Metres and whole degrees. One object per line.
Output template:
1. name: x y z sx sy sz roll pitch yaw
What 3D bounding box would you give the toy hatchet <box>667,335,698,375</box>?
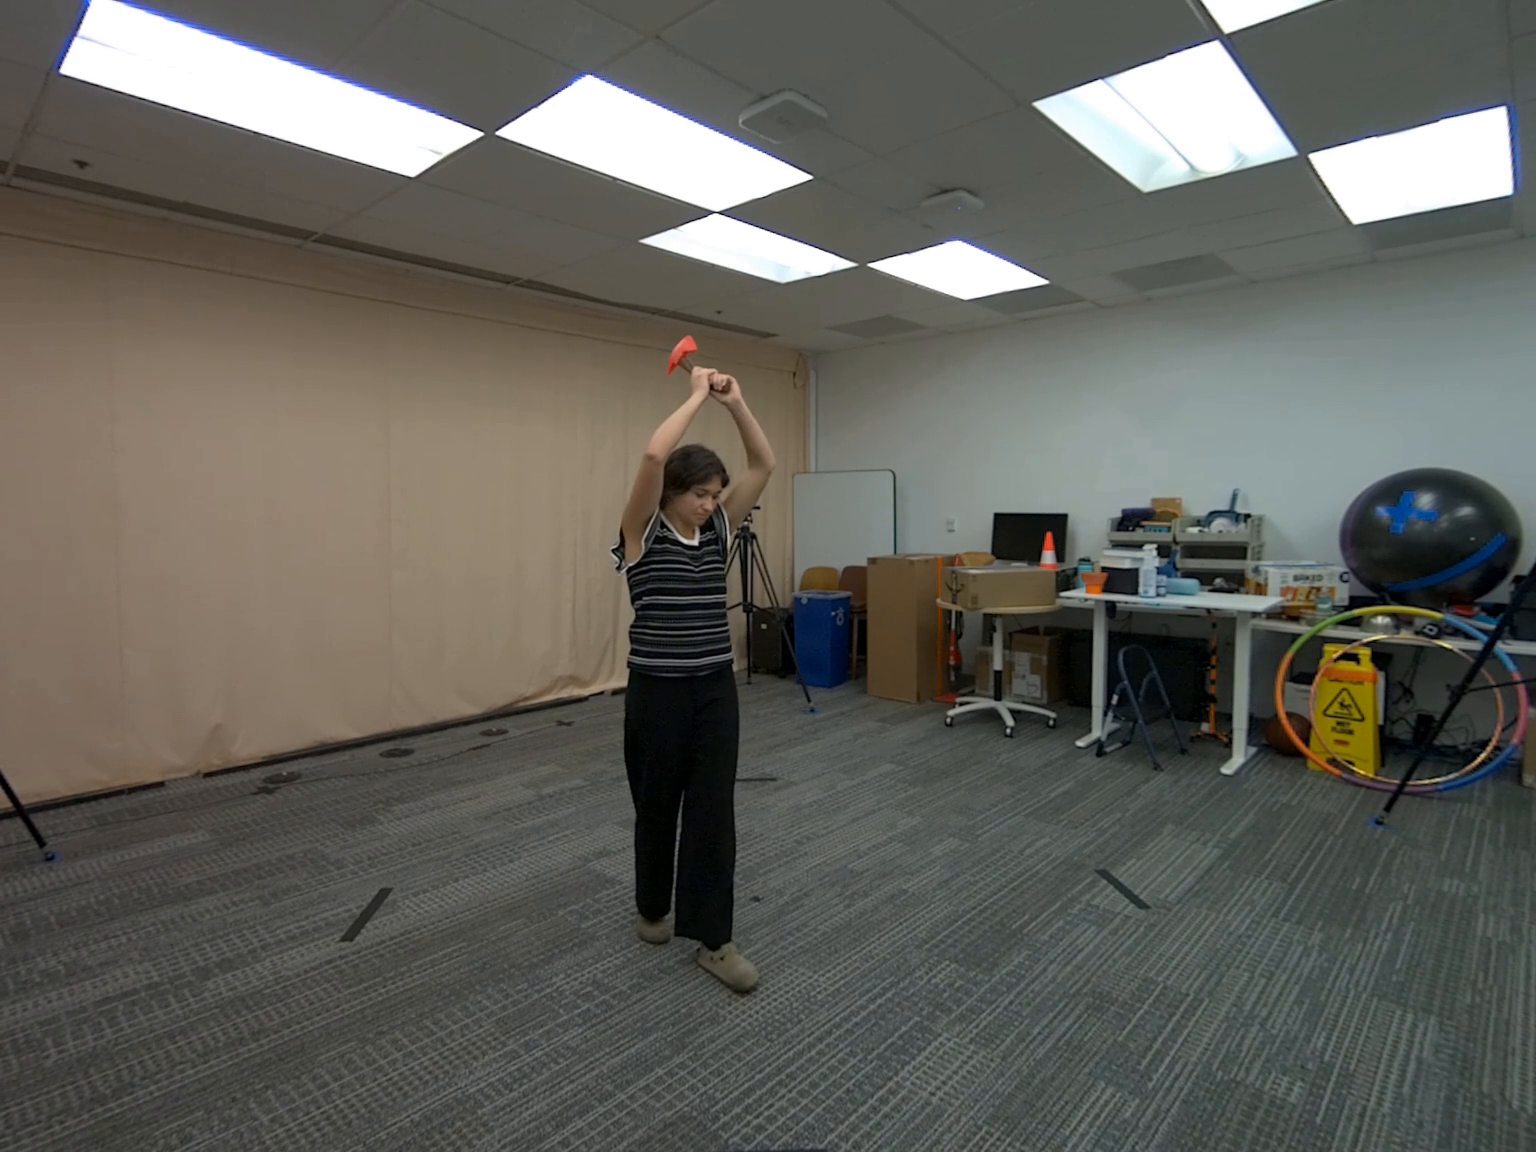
1. toy hatchet: -0.193 -0.639 2.513 0.280 0.131 0.028 27 10 38
